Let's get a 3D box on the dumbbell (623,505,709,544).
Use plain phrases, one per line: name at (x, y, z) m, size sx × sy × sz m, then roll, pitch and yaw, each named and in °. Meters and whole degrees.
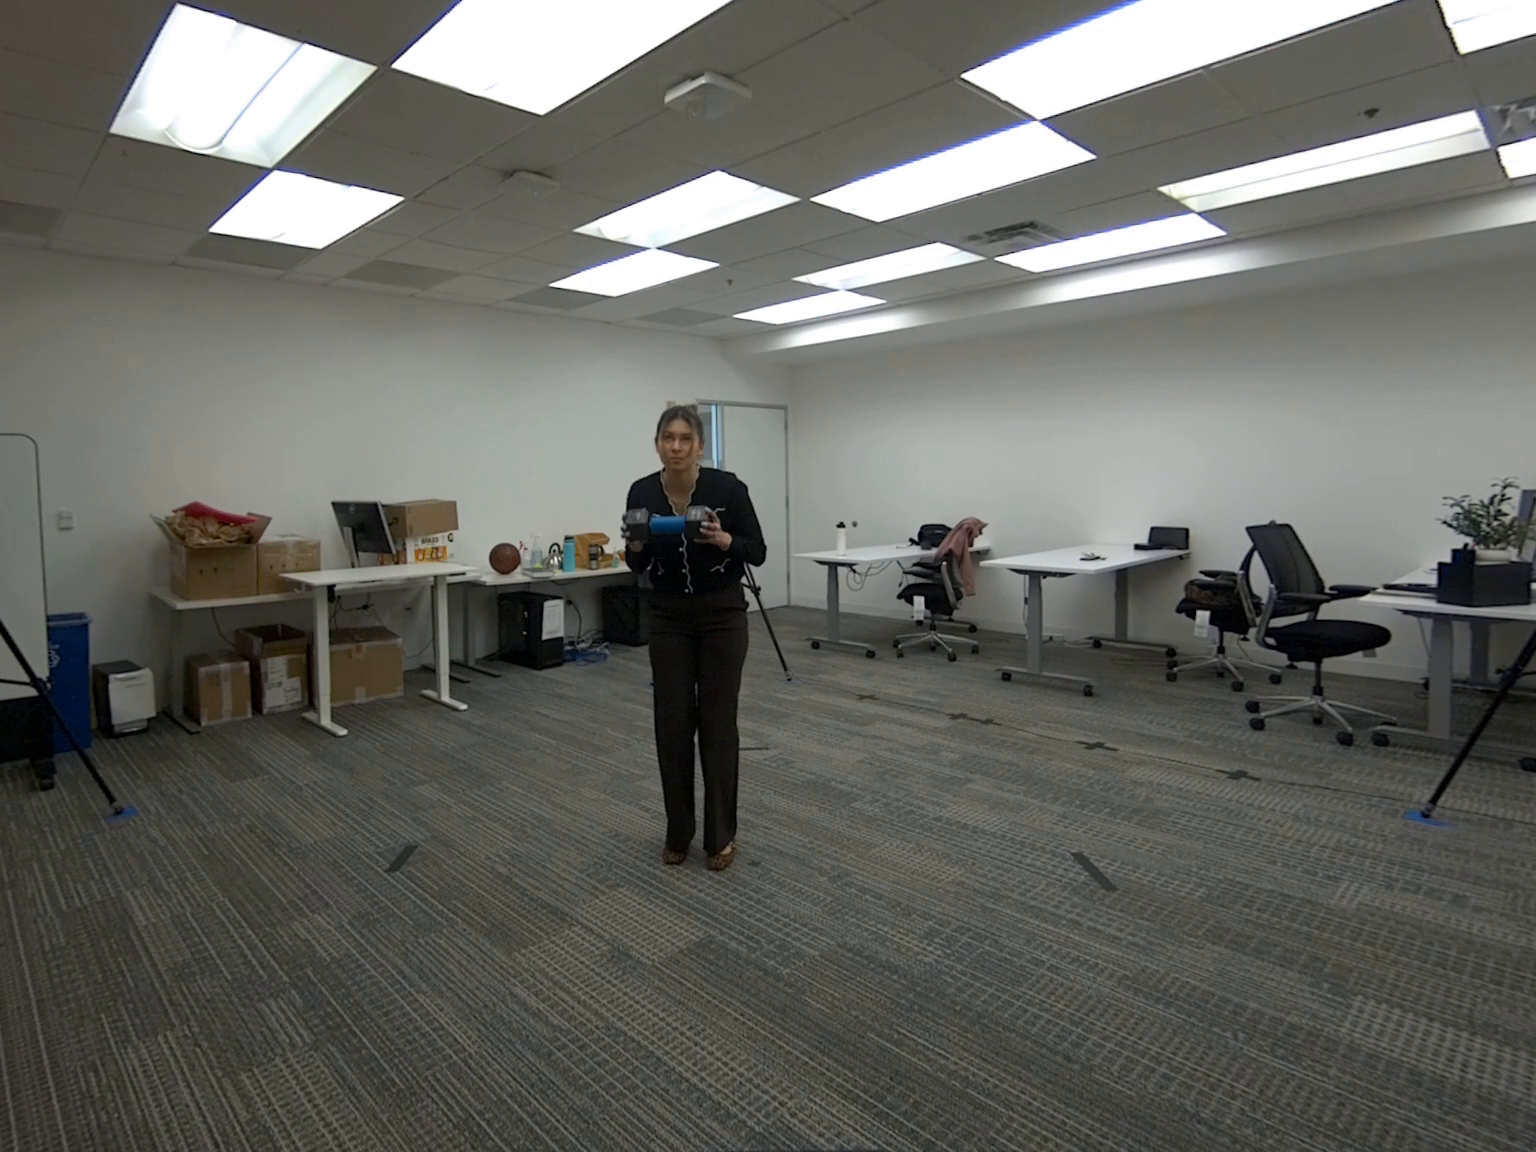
dumbbell at (-0.338, -0.162, 2.930) m, size 0.294 × 0.120 × 0.111 m, roll -5°, pitch 25°, yaw 3°
